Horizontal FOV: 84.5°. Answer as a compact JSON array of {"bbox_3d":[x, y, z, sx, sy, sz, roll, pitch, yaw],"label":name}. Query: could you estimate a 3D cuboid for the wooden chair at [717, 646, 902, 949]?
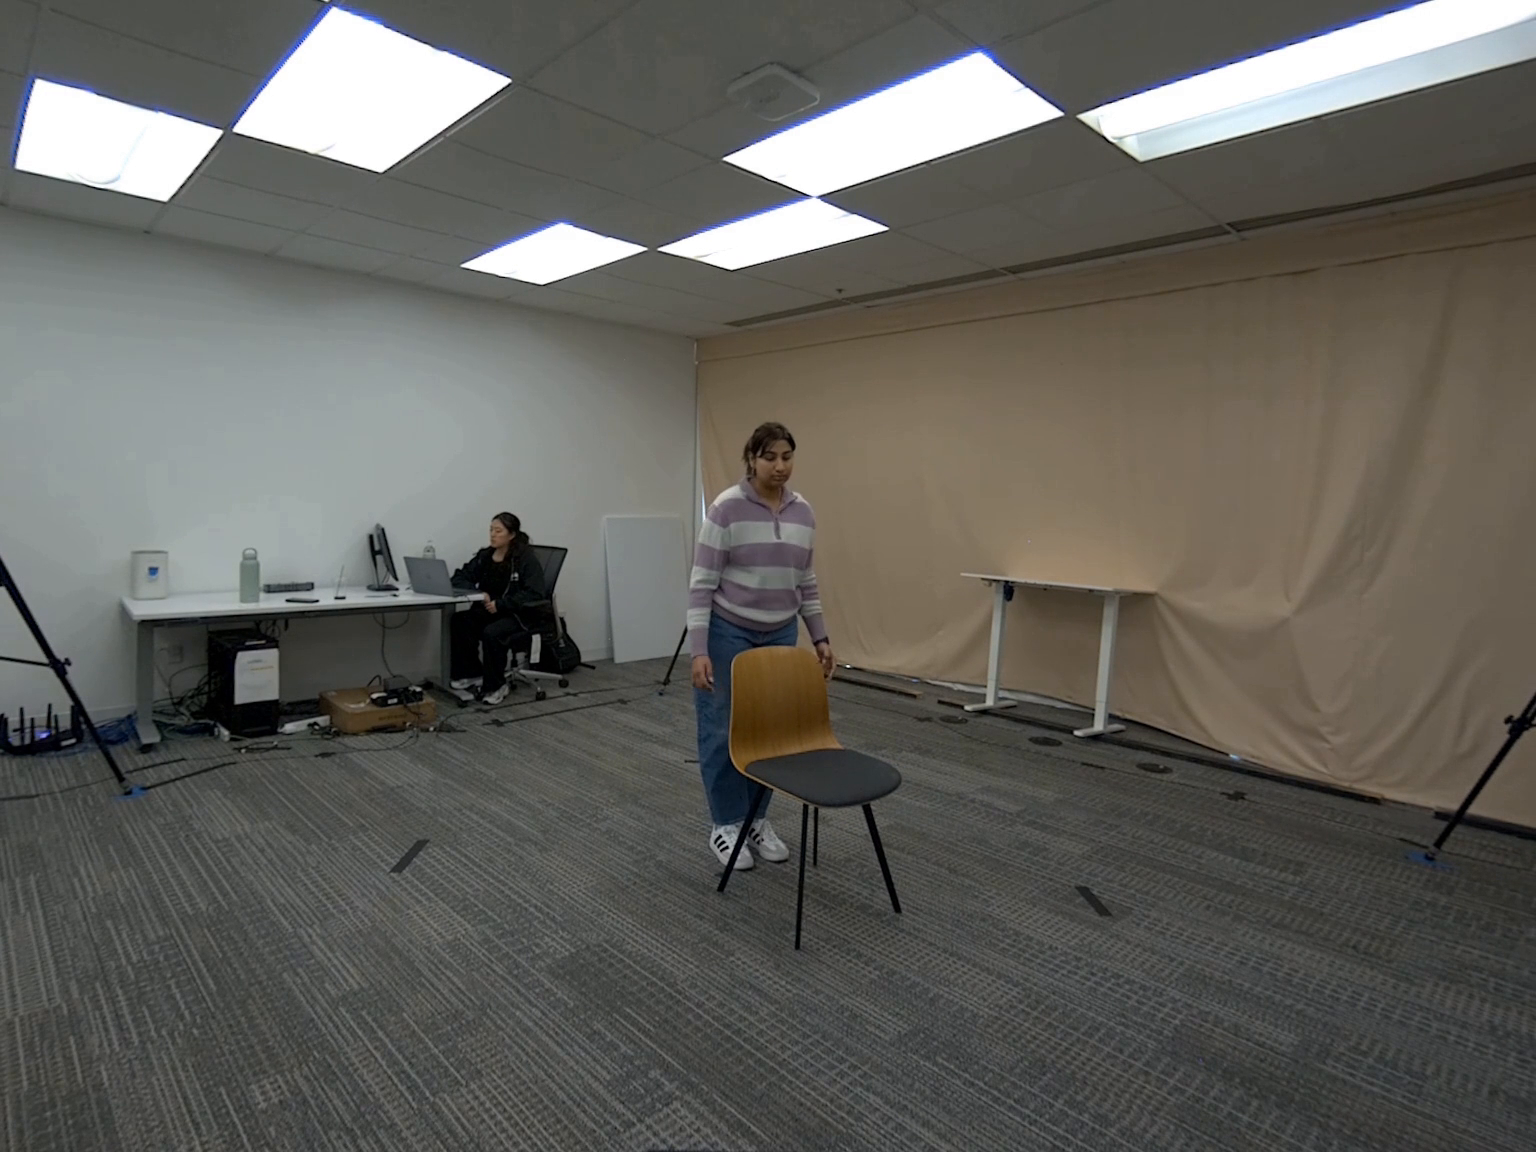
[{"bbox_3d":[0.150,0.705,2.868,0.467,0.877,0.535,-1,0,-36],"label":"wooden chair"}]
